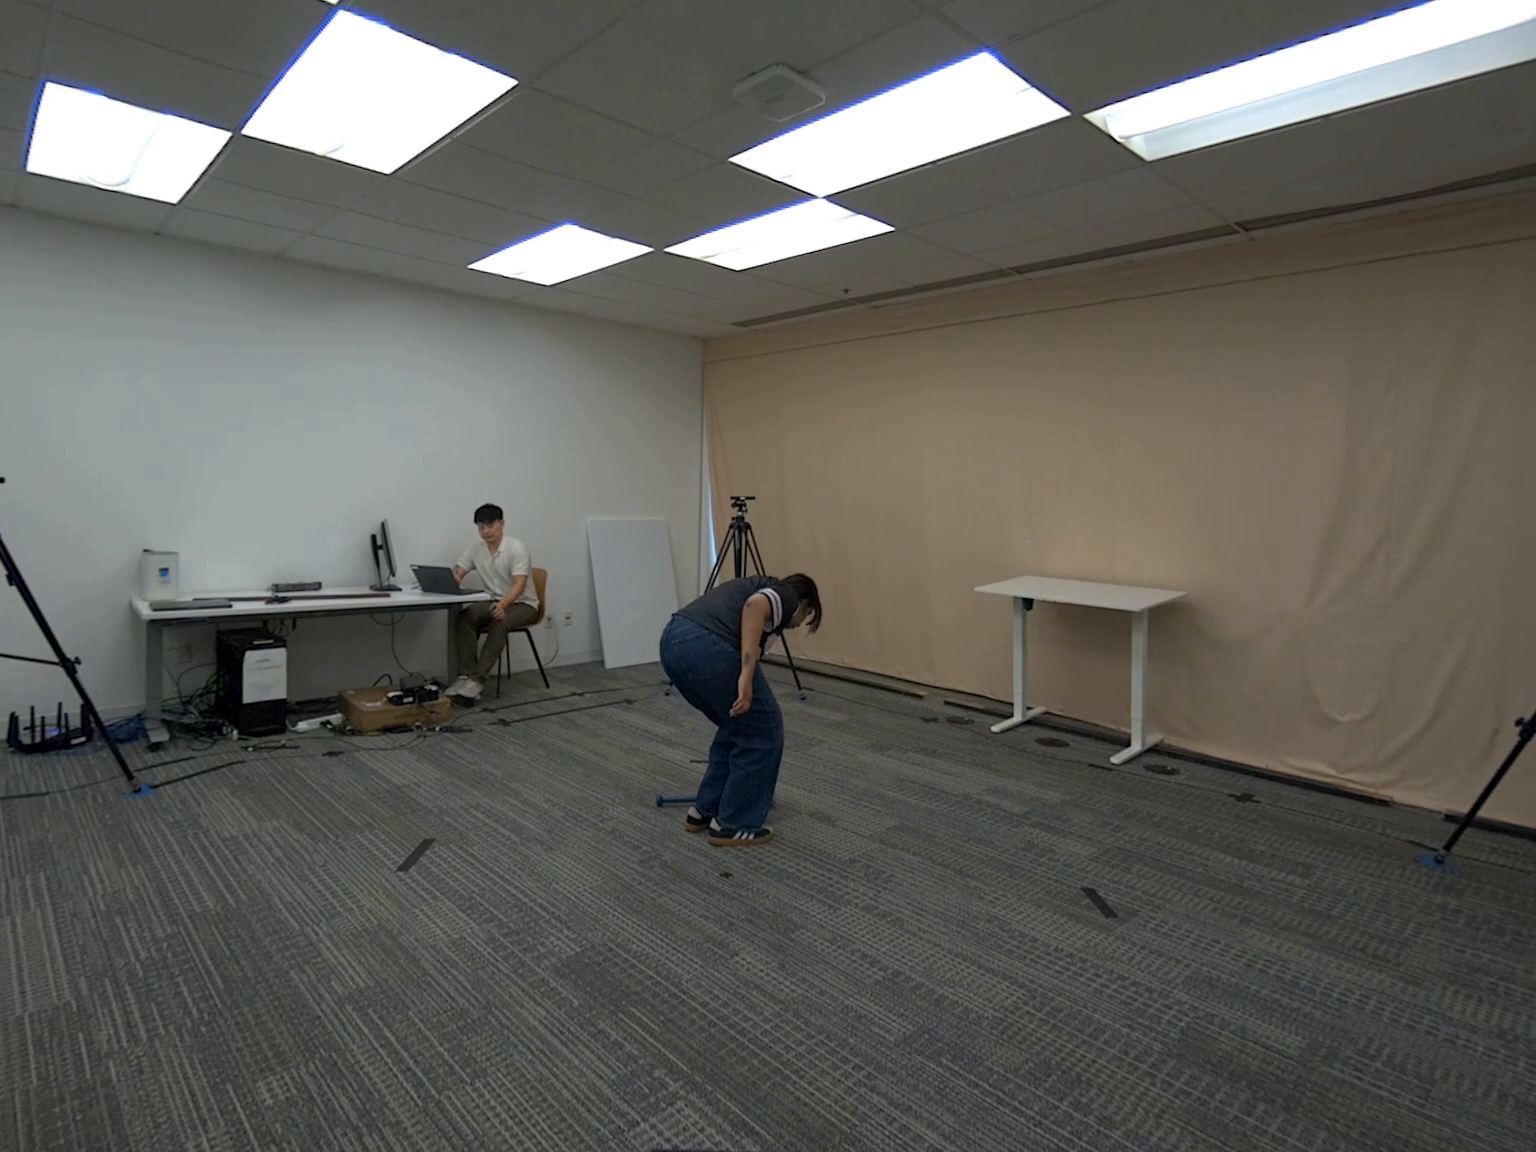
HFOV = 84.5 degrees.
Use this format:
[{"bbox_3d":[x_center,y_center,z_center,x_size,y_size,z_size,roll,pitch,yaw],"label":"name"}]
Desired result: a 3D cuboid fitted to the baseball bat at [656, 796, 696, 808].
[{"bbox_3d":[-0.238,1.010,3.797,0.541,0.089,0.090,-1,5,-5],"label":"baseball bat"}]
